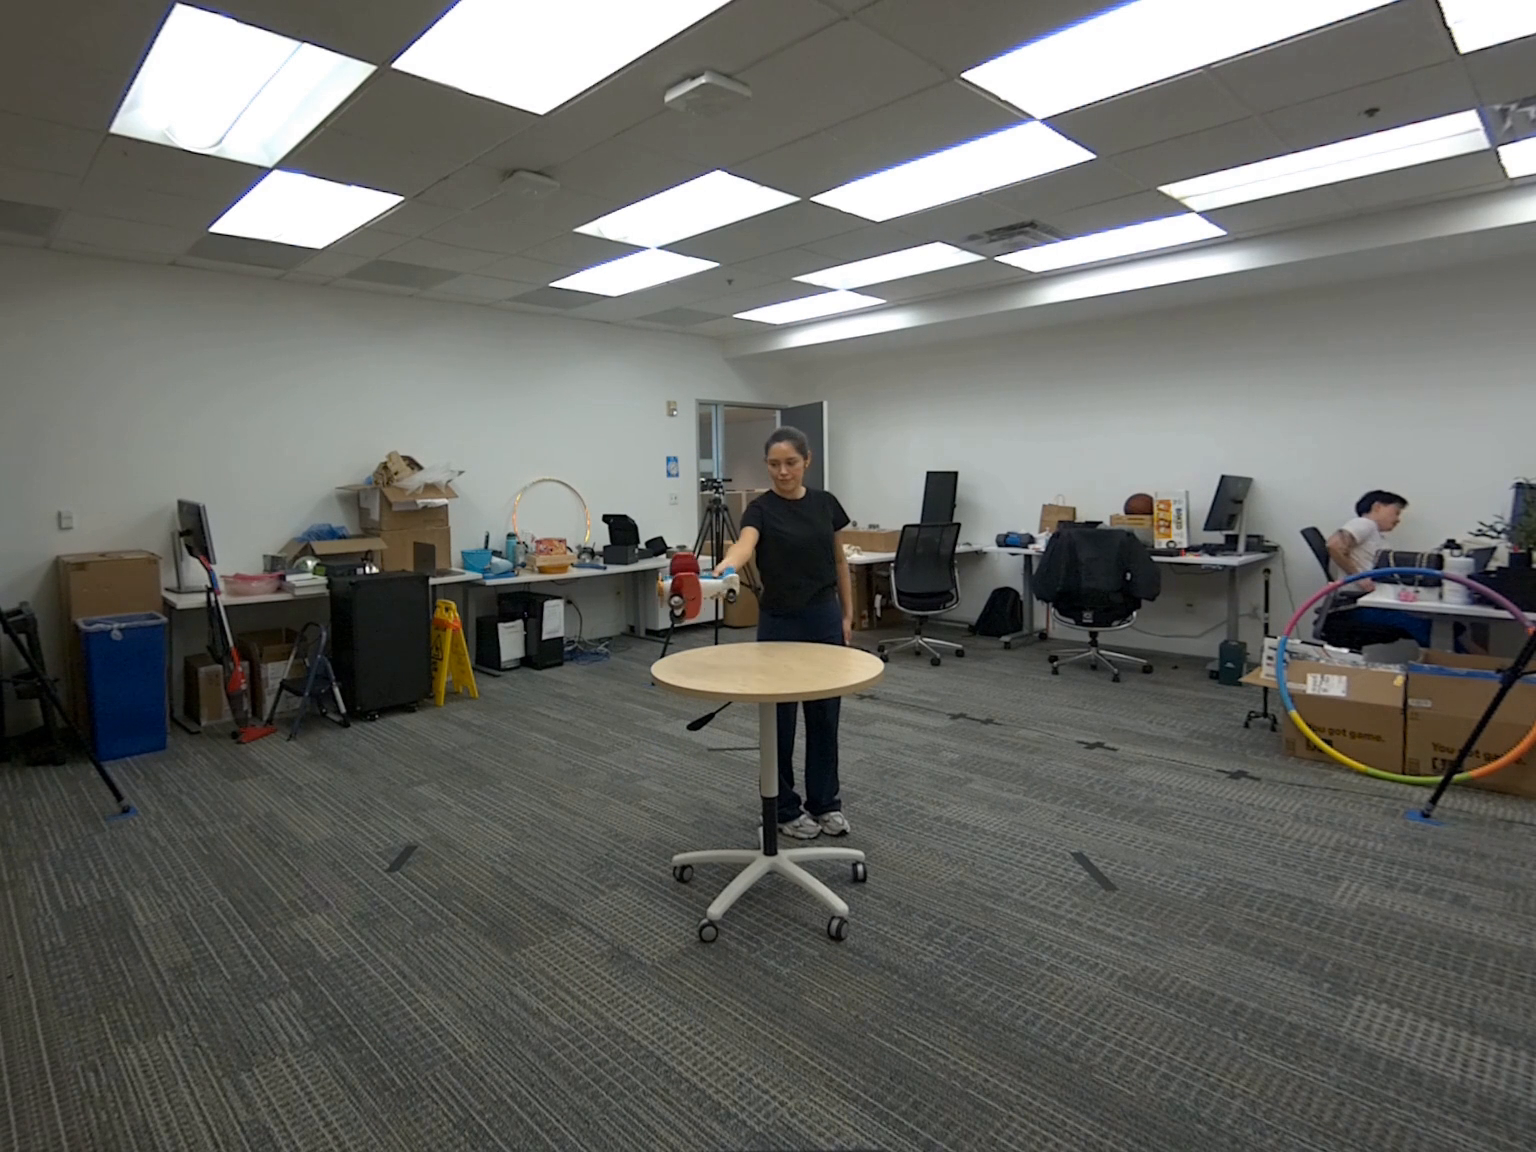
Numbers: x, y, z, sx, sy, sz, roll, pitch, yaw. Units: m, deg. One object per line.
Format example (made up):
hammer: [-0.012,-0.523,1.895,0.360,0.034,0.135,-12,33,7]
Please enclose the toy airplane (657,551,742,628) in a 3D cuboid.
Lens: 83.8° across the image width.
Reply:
toy airplane: [-0.221,0.052,2.759,0.252,0.162,0.250,4,-41,-34]
